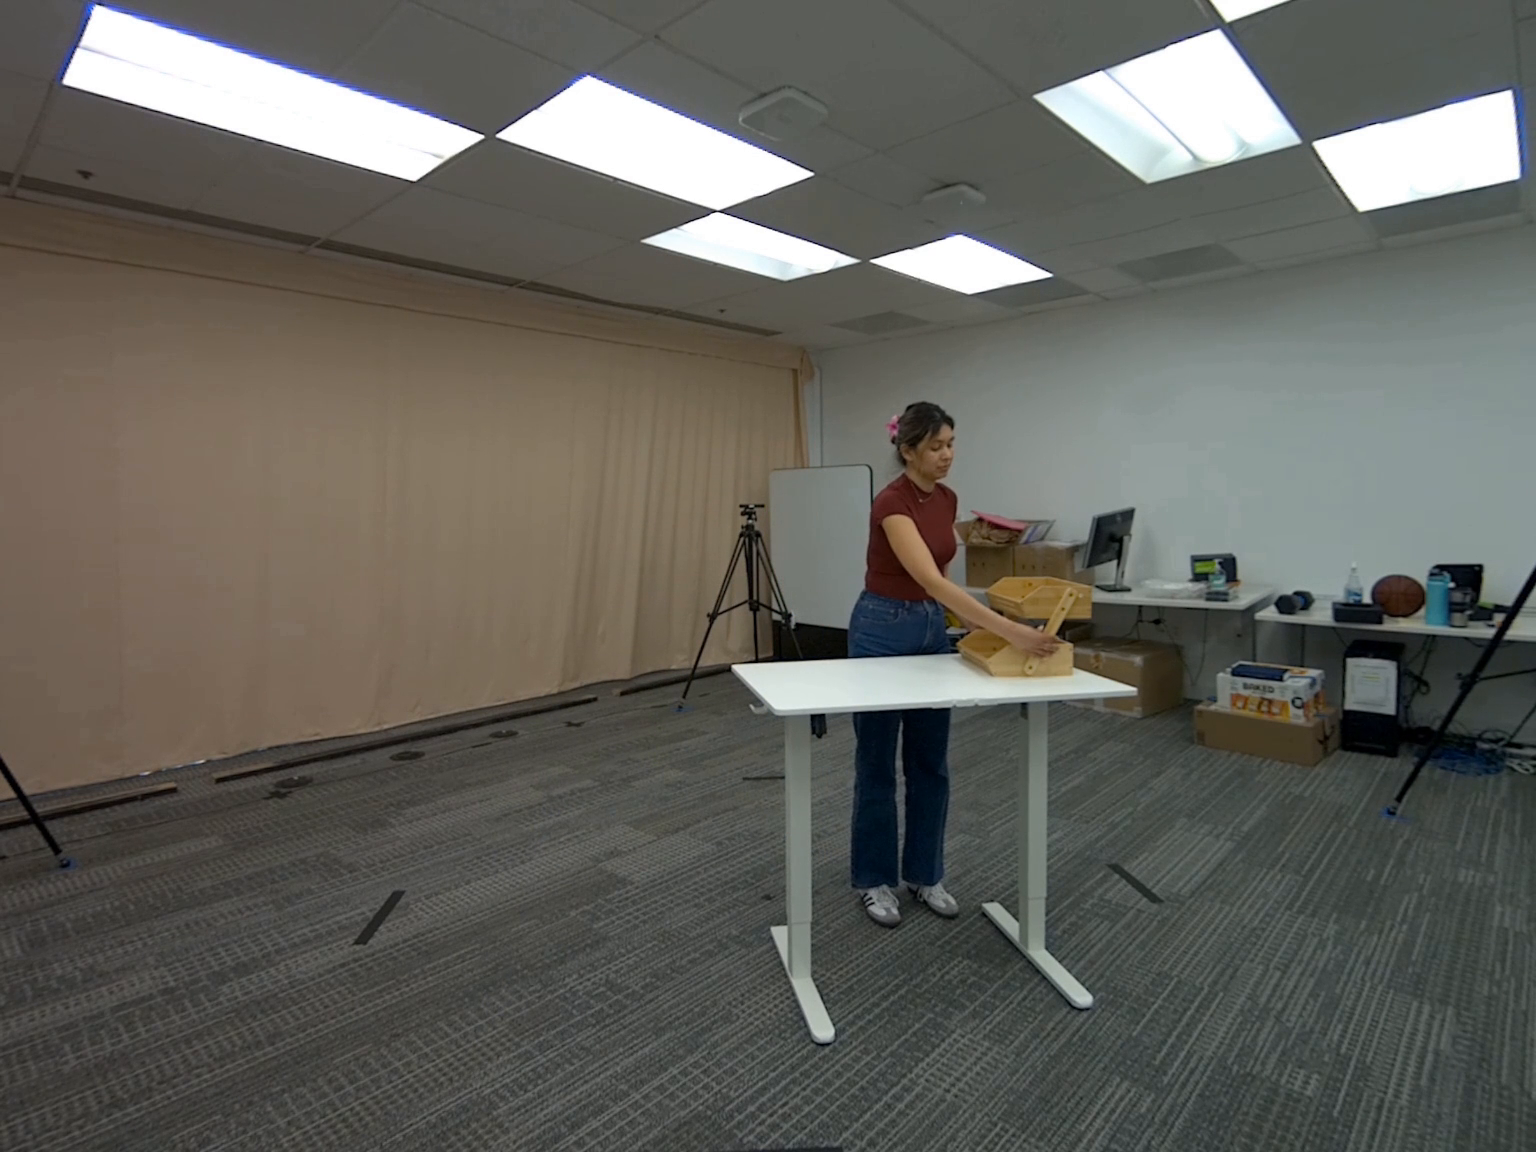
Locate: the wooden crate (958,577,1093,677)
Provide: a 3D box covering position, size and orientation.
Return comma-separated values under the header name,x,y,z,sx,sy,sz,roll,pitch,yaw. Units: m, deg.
name,x,y,z,sx,sy,sz,roll,pitch,yaw
wooden crate,0.779,0.149,2.578,0.301,0.272,0.326,-1,5,-3
